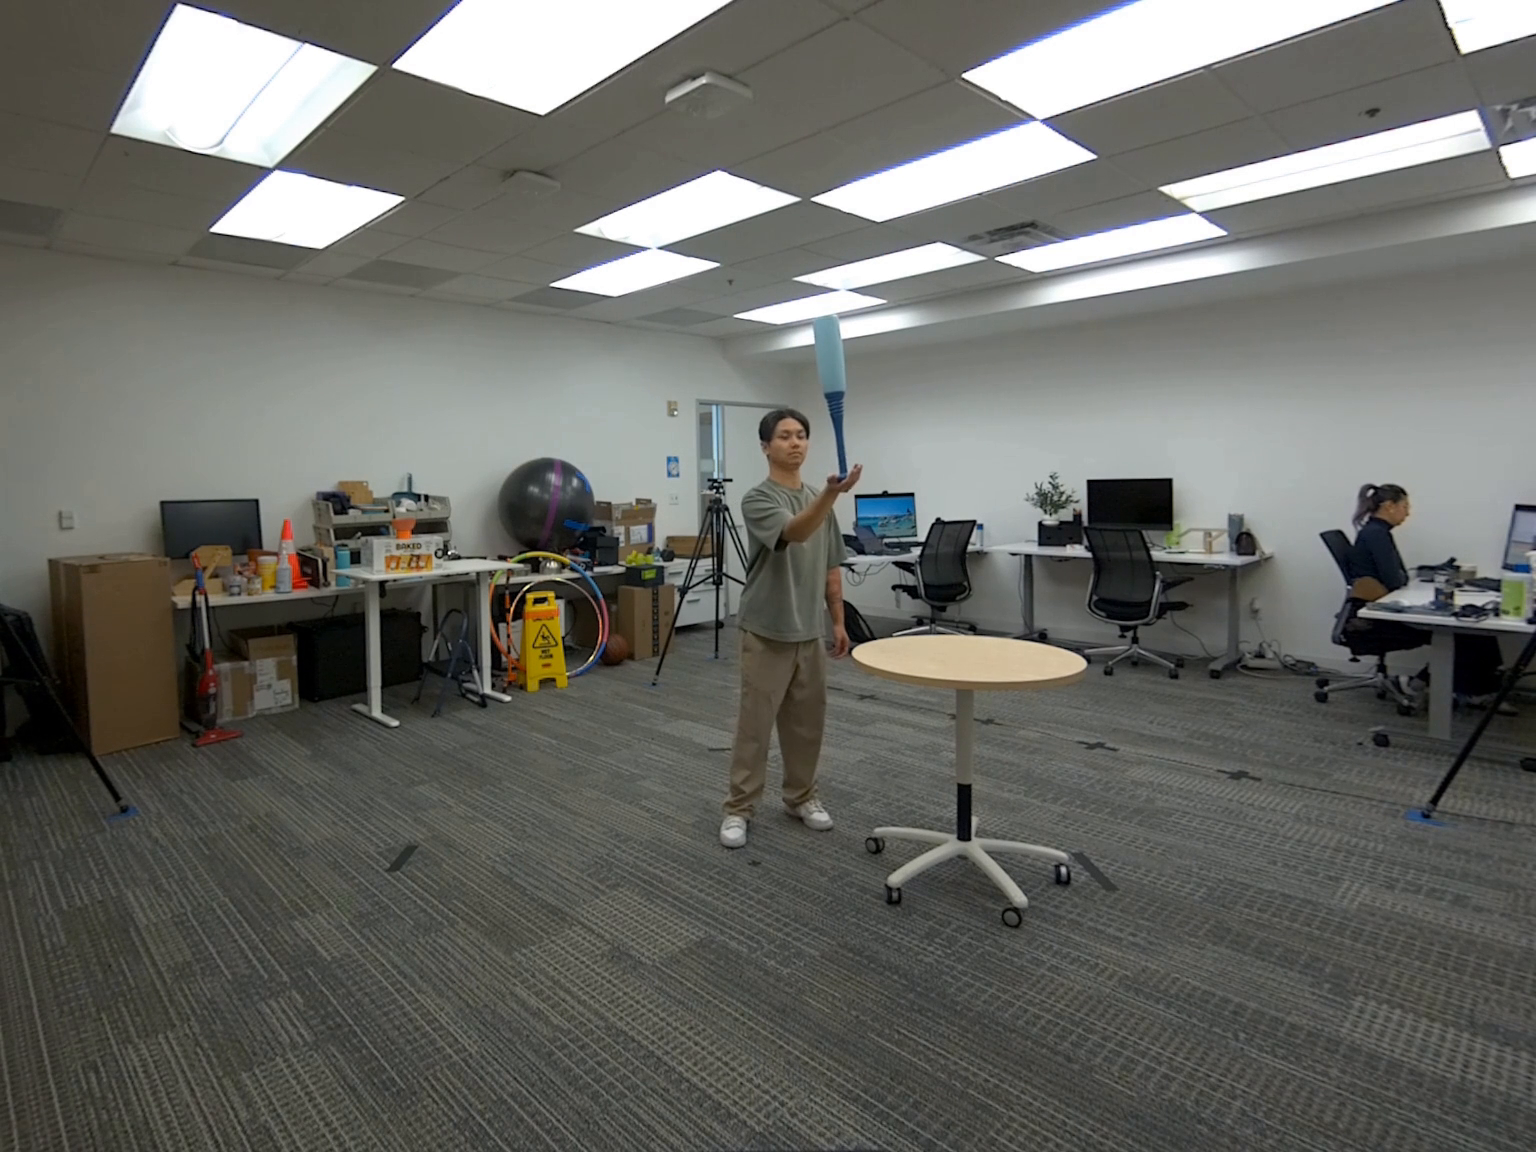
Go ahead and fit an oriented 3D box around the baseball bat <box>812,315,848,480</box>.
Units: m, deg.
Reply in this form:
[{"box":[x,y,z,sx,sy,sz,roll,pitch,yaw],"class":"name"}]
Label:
[{"box":[0.215,-0.578,2.781,0.089,0.541,0.089,-6,3,-1],"class":"baseball bat"}]
